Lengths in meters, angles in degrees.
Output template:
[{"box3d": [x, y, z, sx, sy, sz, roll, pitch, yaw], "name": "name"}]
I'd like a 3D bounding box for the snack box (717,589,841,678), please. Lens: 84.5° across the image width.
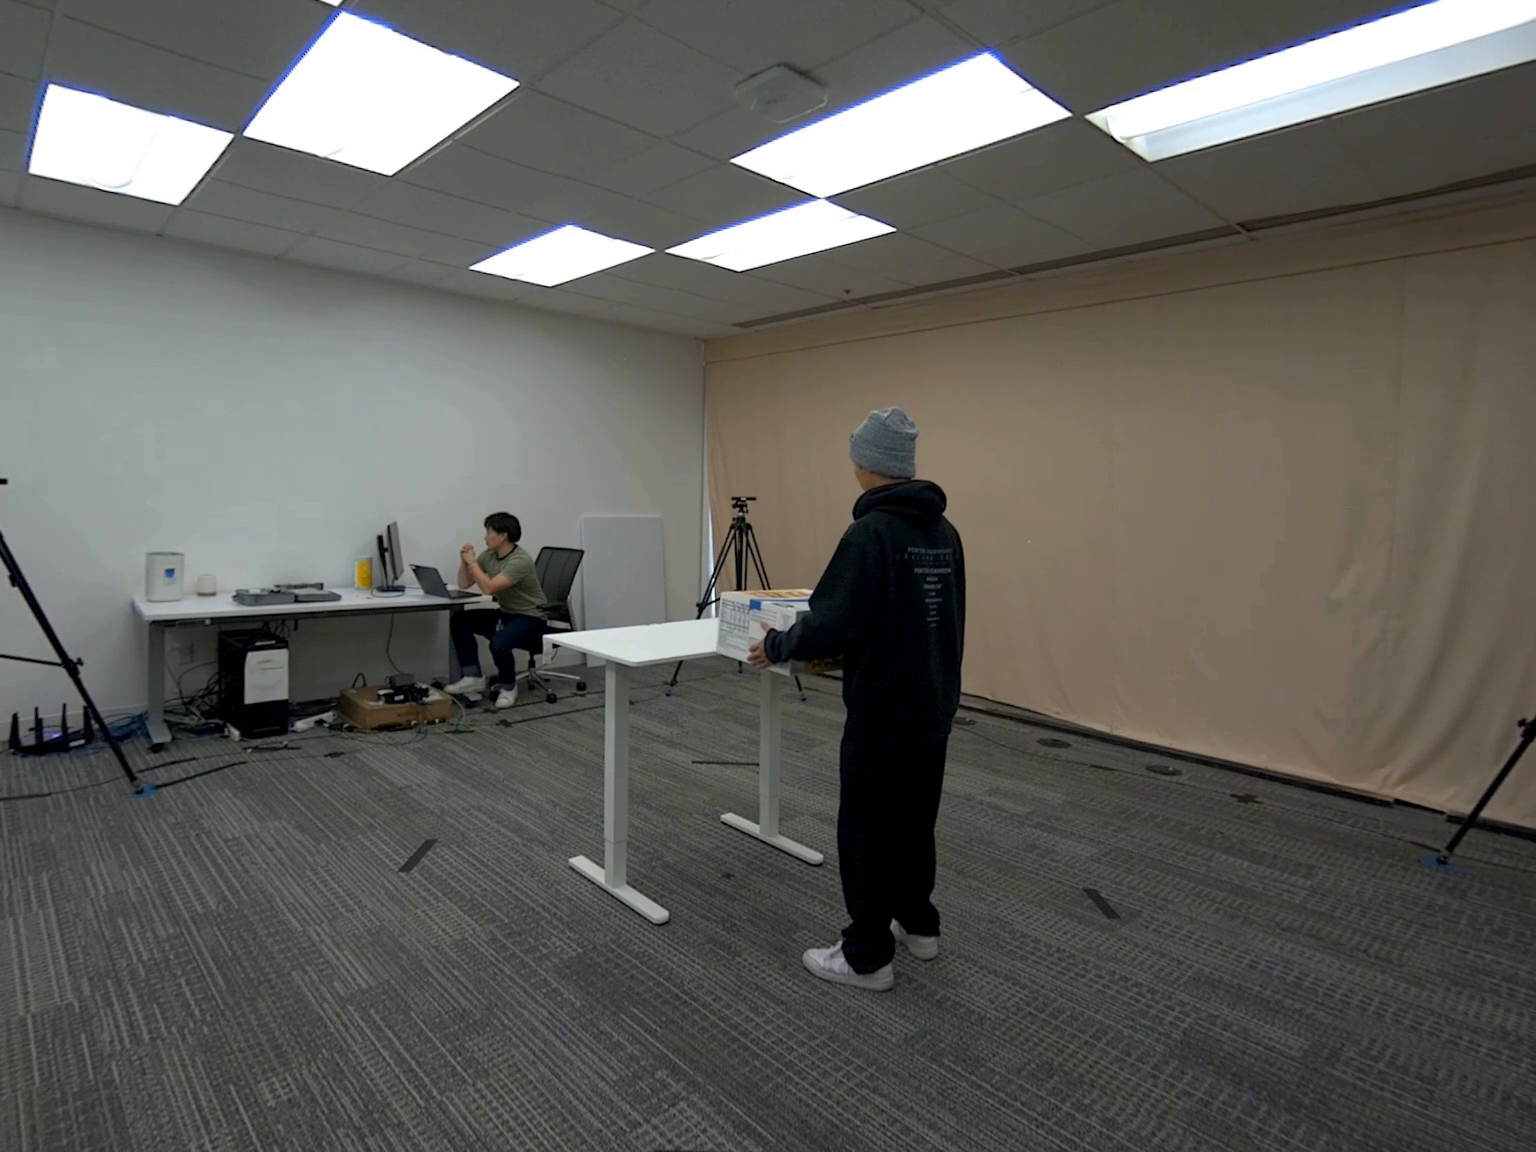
[{"box3d": [0.094, 0.173, 2.734, 0.395, 0.205, 0.350, -1, 9, -44], "name": "snack box"}]
